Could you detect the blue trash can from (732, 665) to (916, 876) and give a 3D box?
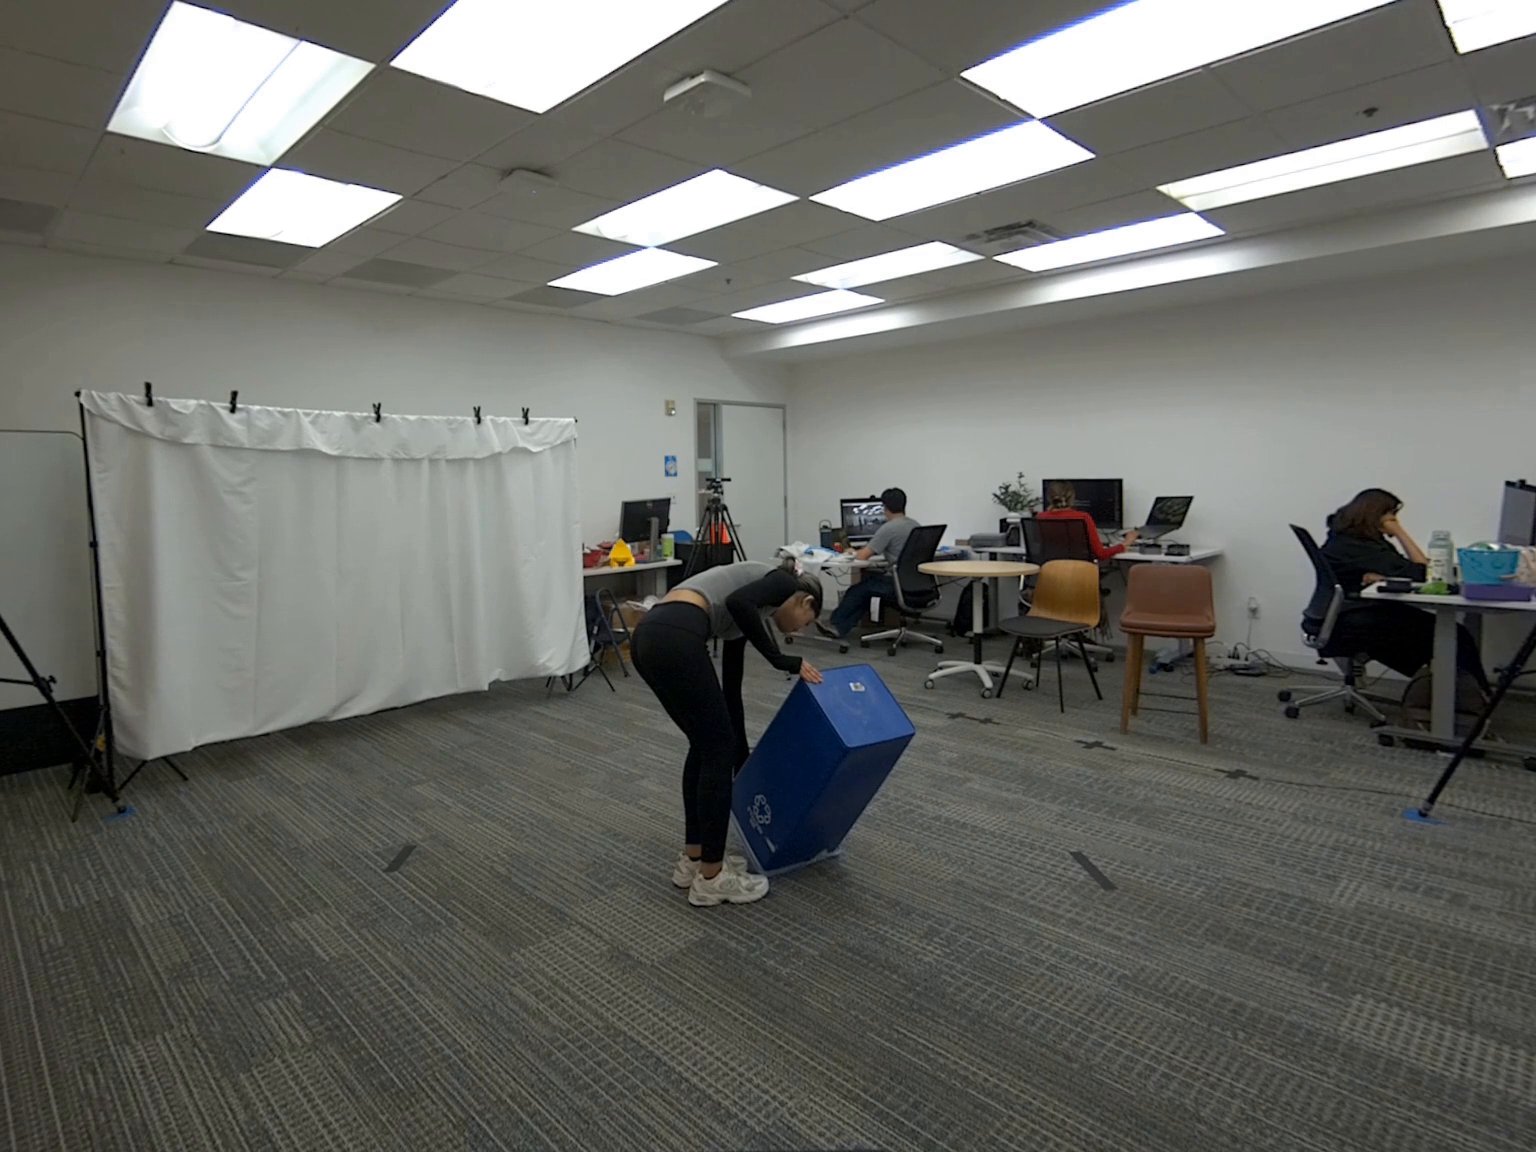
[{"bbox_3d":[0.173,0.664,2.981,0.368,0.705,0.388,-3,44,-34],"label":"blue trash can"}]
